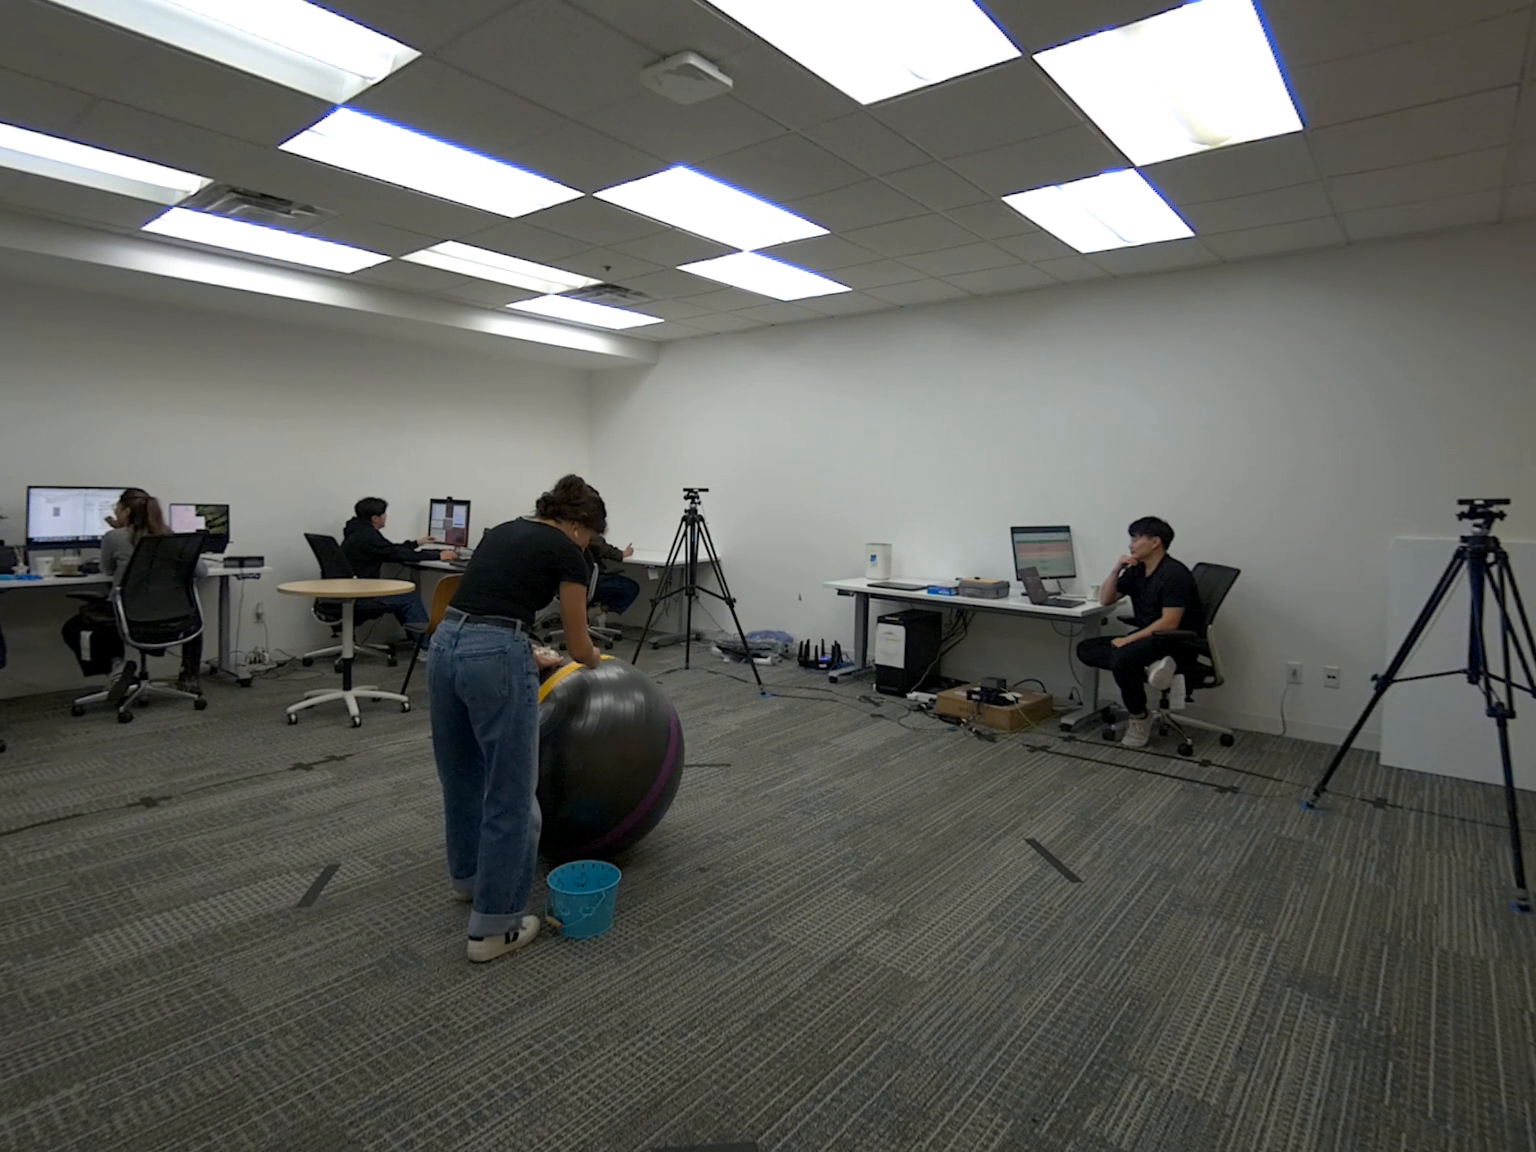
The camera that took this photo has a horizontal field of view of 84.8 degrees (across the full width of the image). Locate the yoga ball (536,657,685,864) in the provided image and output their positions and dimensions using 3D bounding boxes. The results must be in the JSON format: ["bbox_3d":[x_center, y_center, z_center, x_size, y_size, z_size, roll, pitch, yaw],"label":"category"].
[{"bbox_3d":[-0.711,0.683,3.236,0.757,0.756,0.762,1,4,-2],"label":"yoga ball"}]
